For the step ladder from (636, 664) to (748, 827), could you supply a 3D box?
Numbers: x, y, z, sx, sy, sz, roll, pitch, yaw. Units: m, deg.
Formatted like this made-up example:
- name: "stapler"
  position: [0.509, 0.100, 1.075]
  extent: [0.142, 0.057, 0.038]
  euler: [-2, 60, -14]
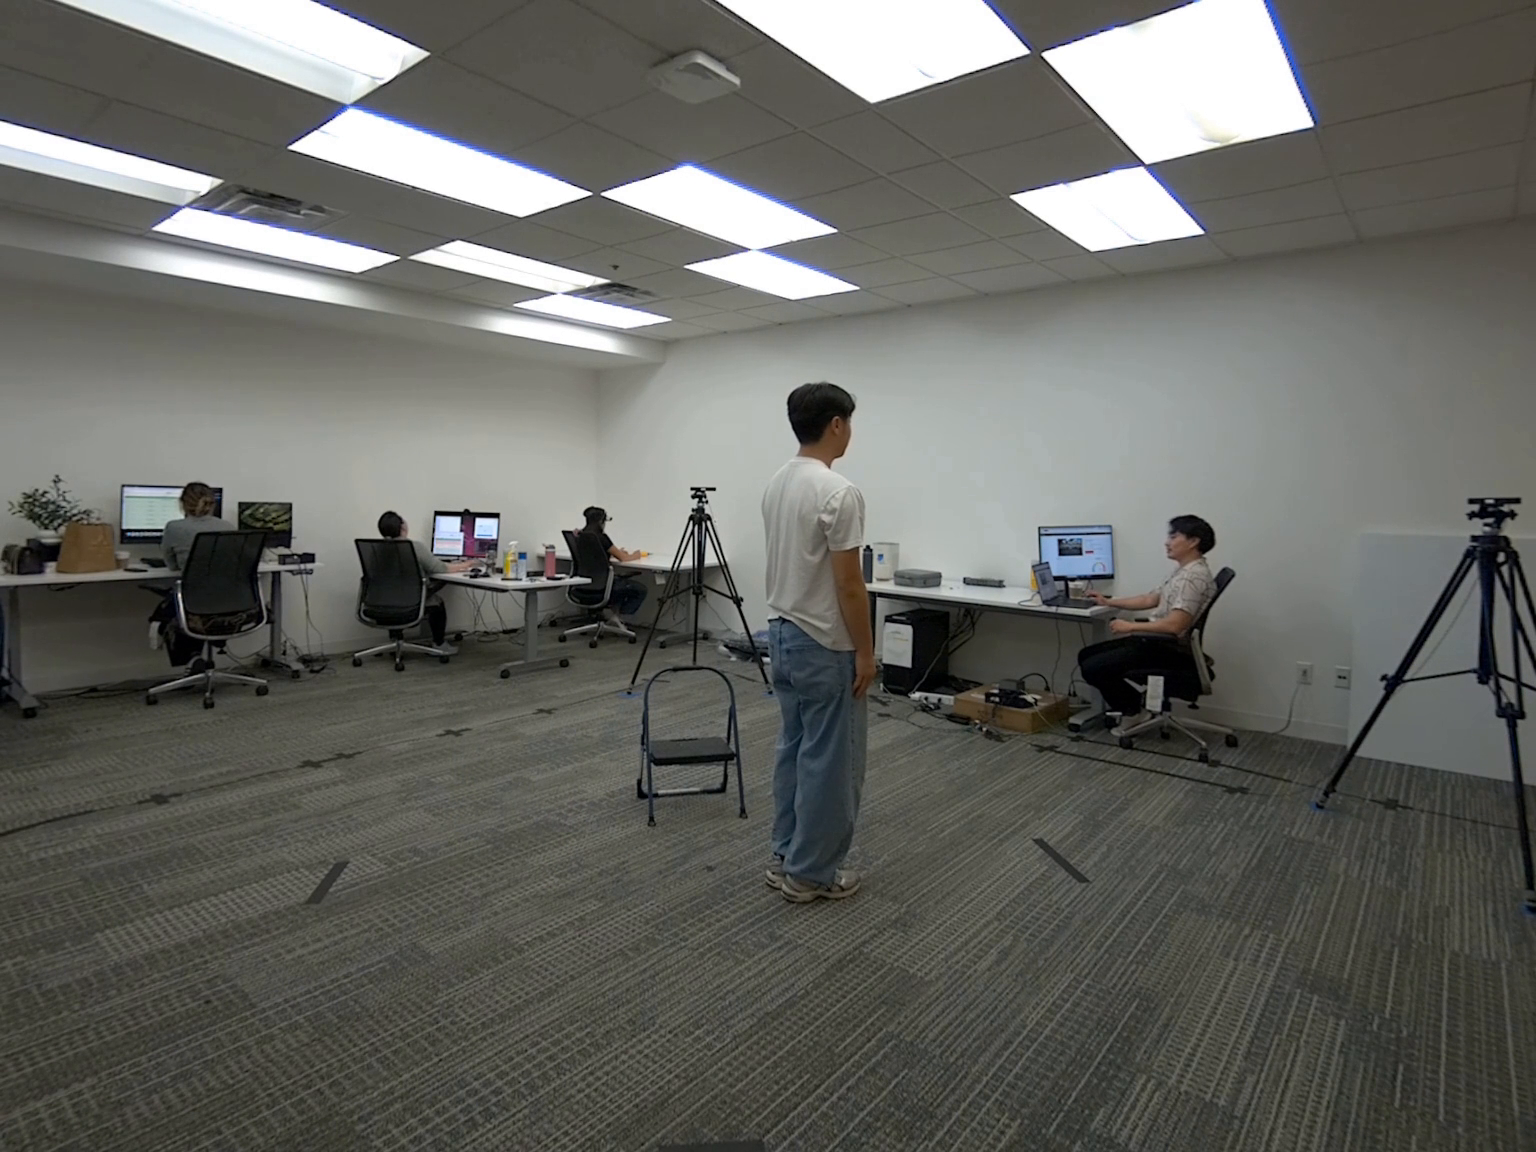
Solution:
- name: "step ladder"
  position: [-0.343, 0.707, 3.693]
  extent: [0.423, 0.604, 0.356]
  euler: [0, 3, -17]
